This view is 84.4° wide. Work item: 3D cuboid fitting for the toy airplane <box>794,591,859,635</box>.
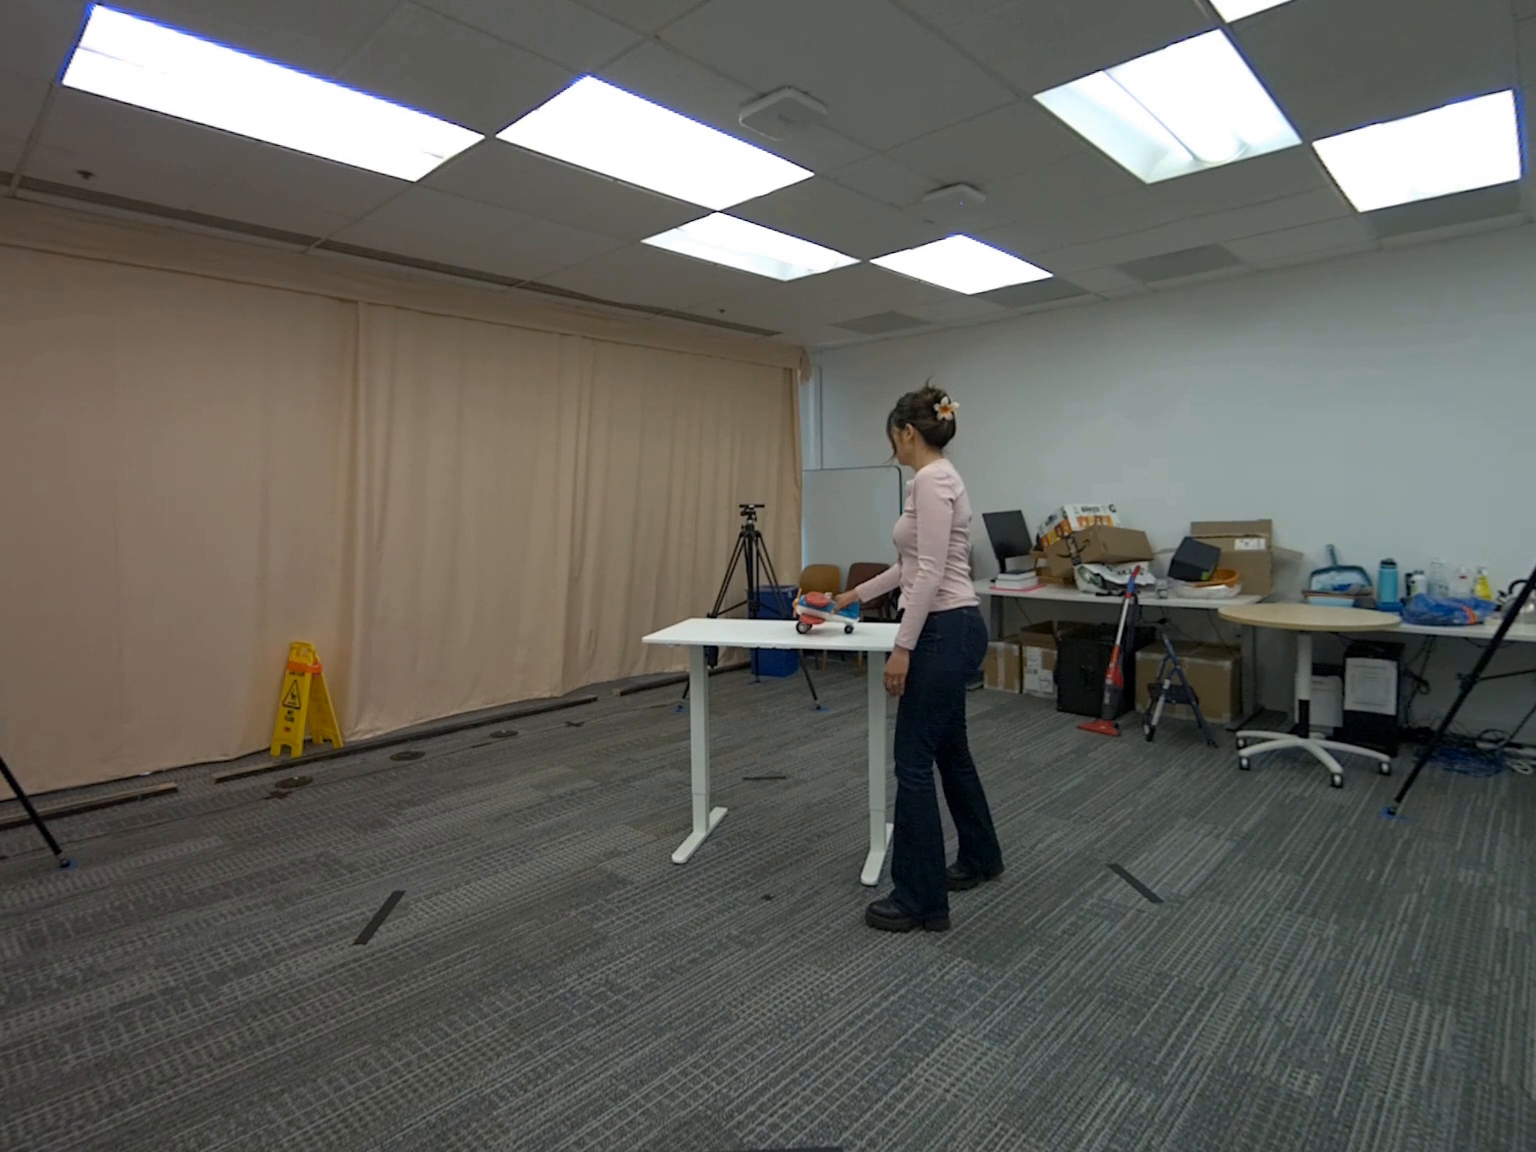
[{"bbox_3d":[0.231,0.149,3.345,0.255,0.156,0.255,-3,5,-15],"label":"toy airplane"}]
